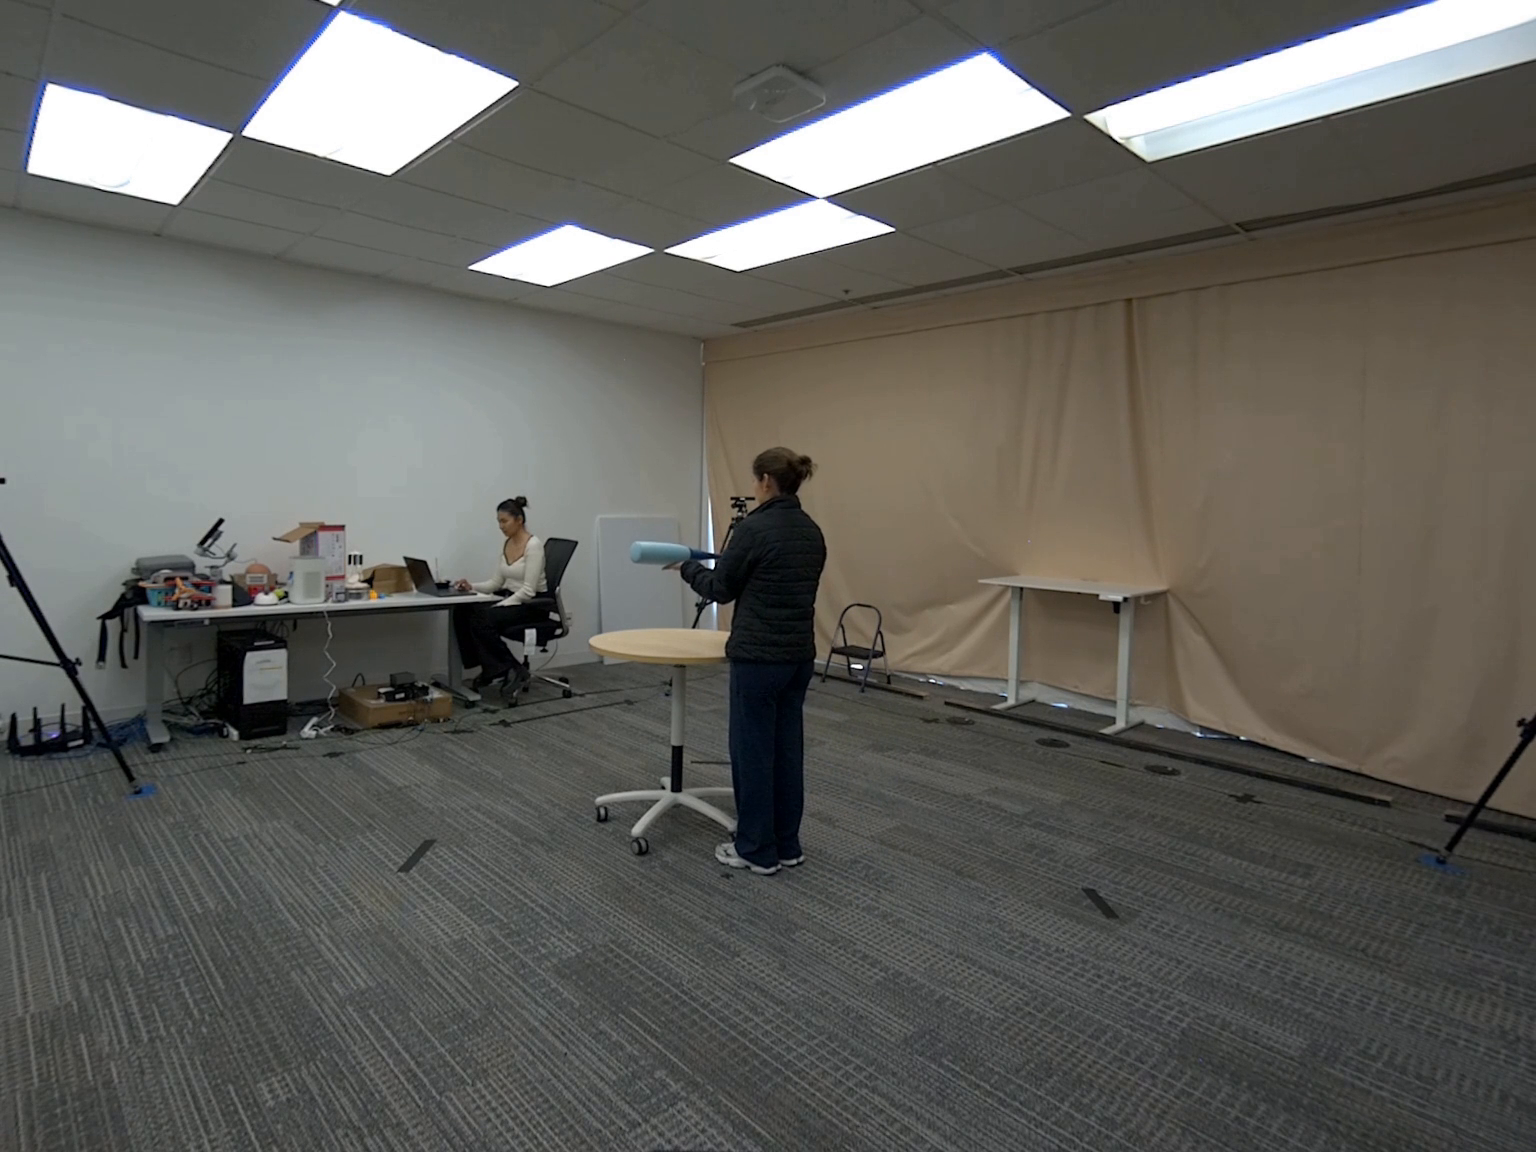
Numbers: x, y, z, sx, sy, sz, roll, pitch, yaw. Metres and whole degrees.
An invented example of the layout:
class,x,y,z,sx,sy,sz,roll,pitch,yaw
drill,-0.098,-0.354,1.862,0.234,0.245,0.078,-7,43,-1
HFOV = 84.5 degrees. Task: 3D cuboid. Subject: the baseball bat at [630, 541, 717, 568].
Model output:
class,x,y,z,sx,sy,sz,roll,pitch,yaw
baseball bat,-0.320,-0.085,3.418,0.530,0.089,0.091,2,3,-41
